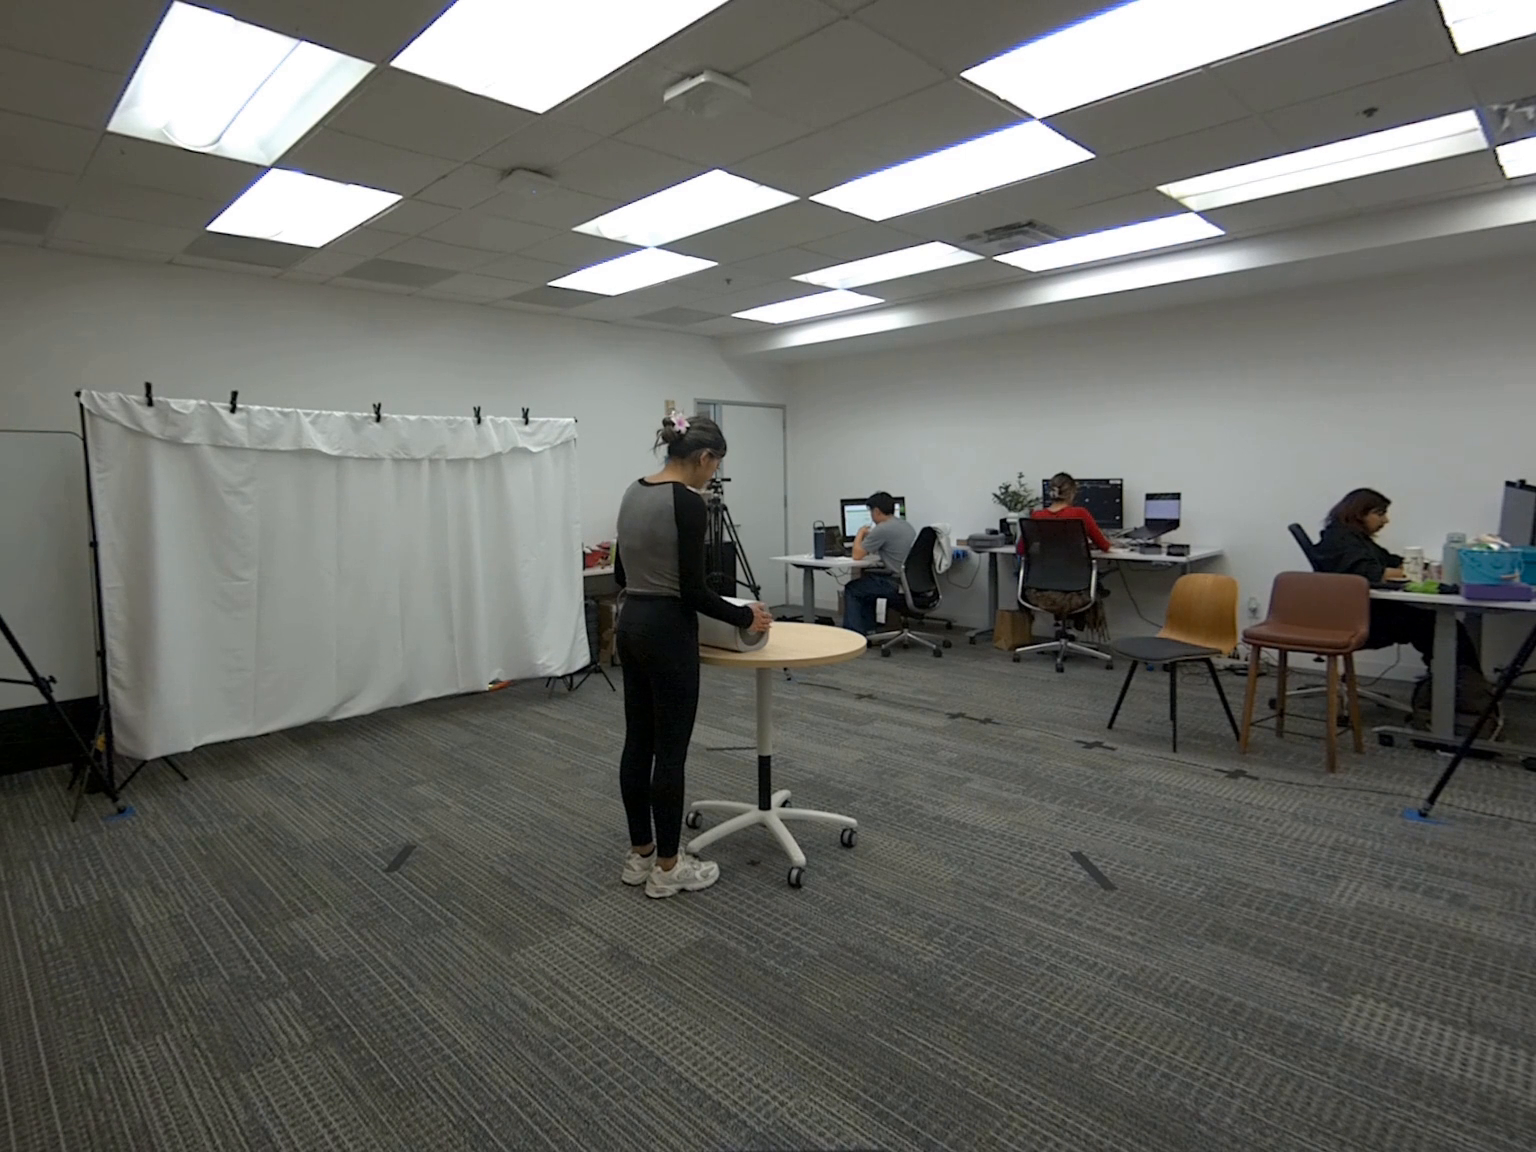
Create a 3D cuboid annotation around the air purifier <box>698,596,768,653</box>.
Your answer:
[{"bbox_3d":[-0.149,0.164,3.071,0.273,0.171,0.167,5,8,42],"label":"air purifier"}]
